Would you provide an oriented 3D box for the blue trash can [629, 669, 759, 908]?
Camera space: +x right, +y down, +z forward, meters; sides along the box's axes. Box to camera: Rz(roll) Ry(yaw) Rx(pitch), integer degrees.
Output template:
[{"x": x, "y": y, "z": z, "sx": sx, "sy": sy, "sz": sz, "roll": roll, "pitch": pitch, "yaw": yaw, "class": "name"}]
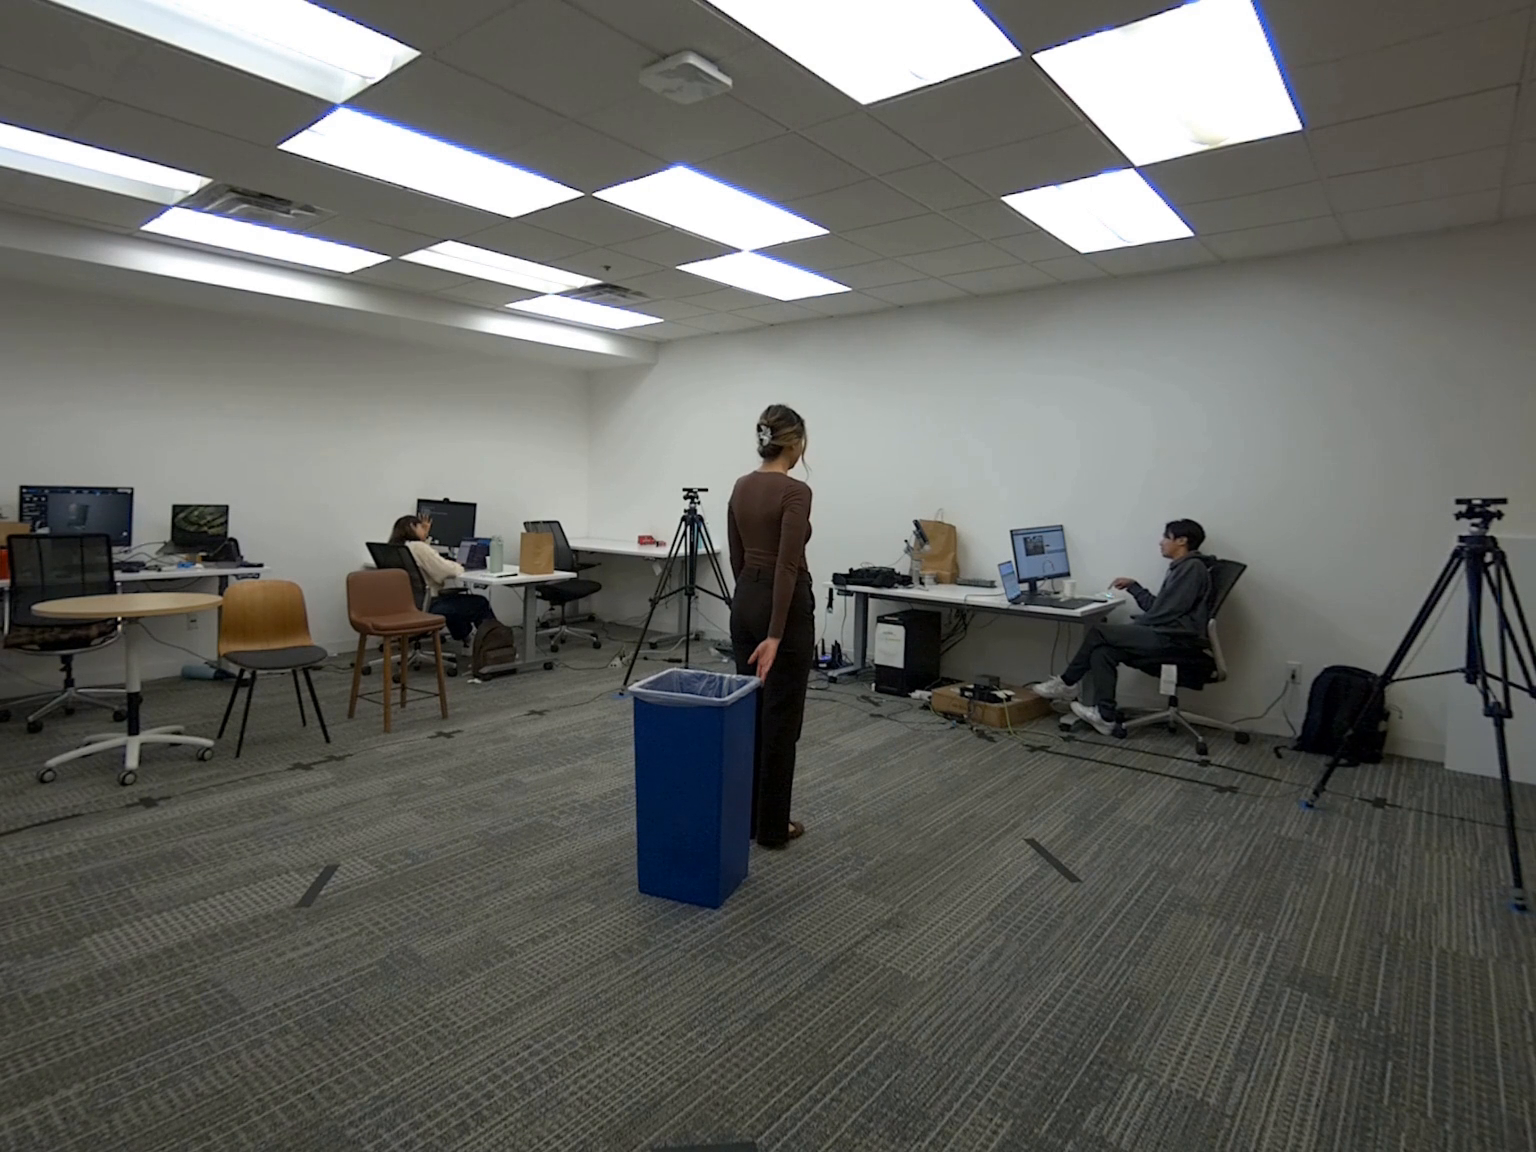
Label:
[{"x": -0.260, "y": 0.722, "z": 2.985, "sx": 0.382, "sy": 0.712, "sz": 0.371, "roll": 1, "pitch": 3, "yaw": 20, "class": "blue trash can"}]
